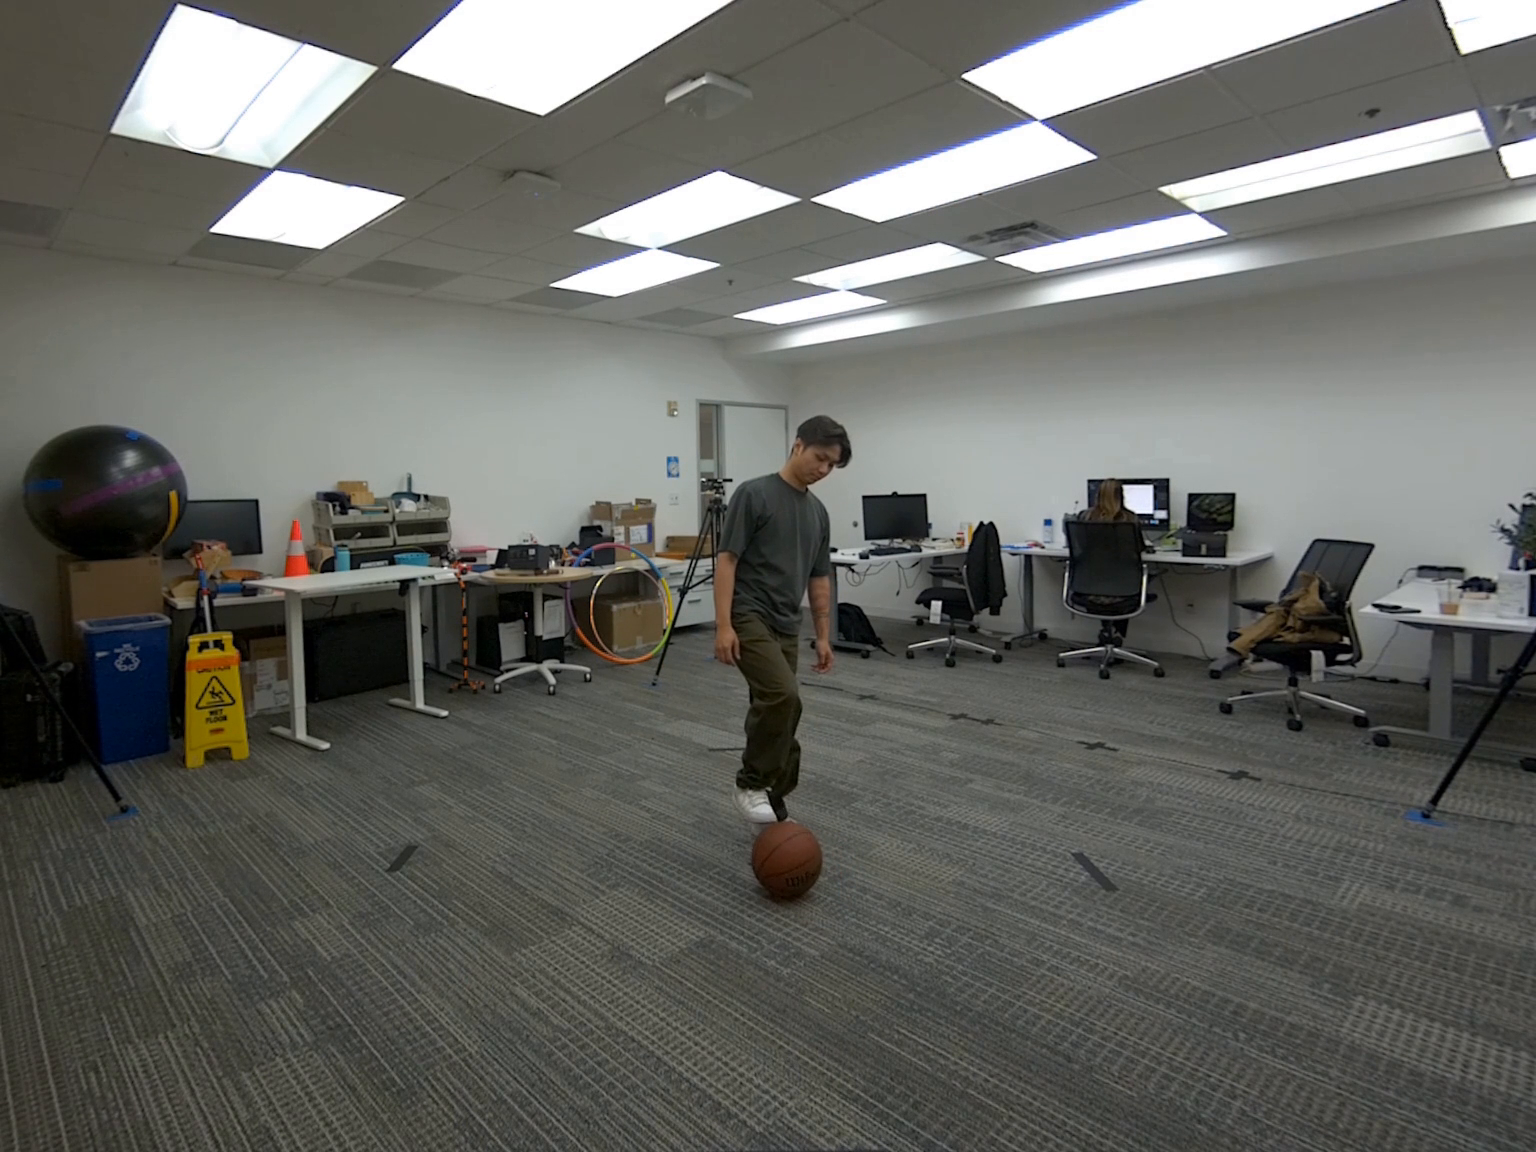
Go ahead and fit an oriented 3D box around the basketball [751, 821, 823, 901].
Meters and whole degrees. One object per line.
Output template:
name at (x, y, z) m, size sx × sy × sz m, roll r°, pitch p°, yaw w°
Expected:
basketball at (0.066, 0.954, 2.868) m, size 0.236 × 0.235 × 0.237 m, roll -1°, pitch 5°, yaw -2°
